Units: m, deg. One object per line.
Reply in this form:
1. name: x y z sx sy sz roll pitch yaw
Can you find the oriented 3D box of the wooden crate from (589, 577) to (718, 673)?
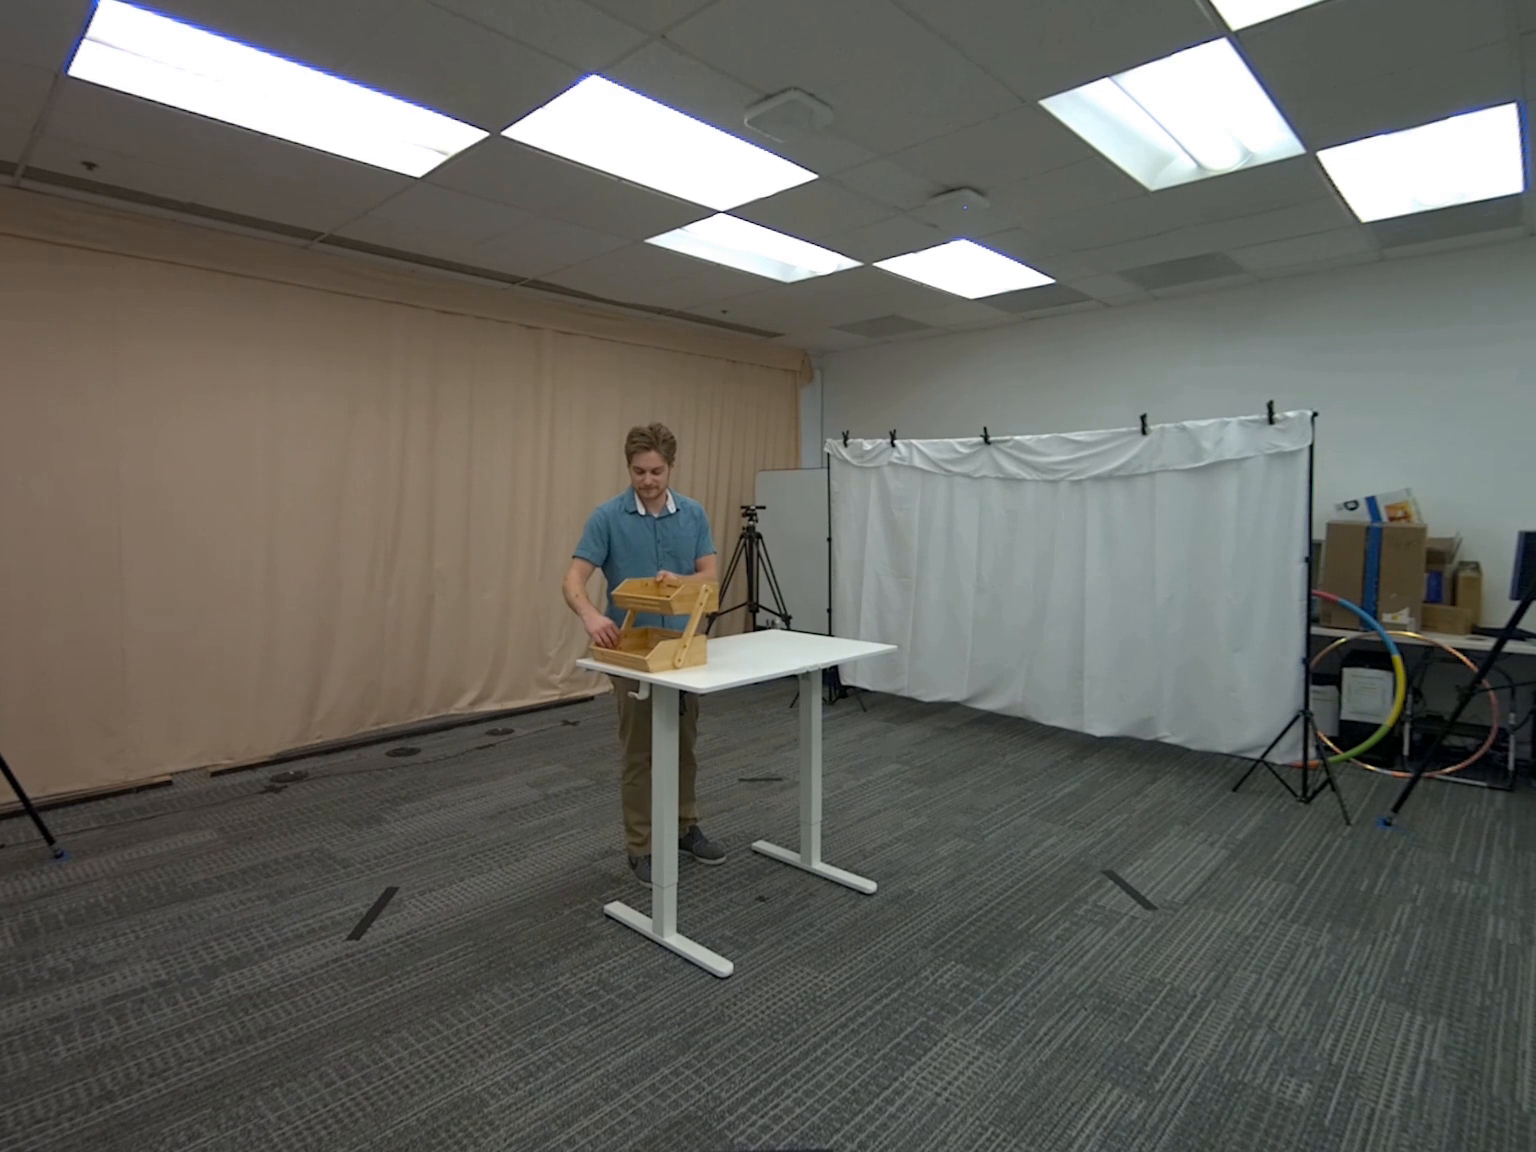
1. wooden crate: -0.371 0.146 2.746 0.335 0.273 0.292 4 5 44
